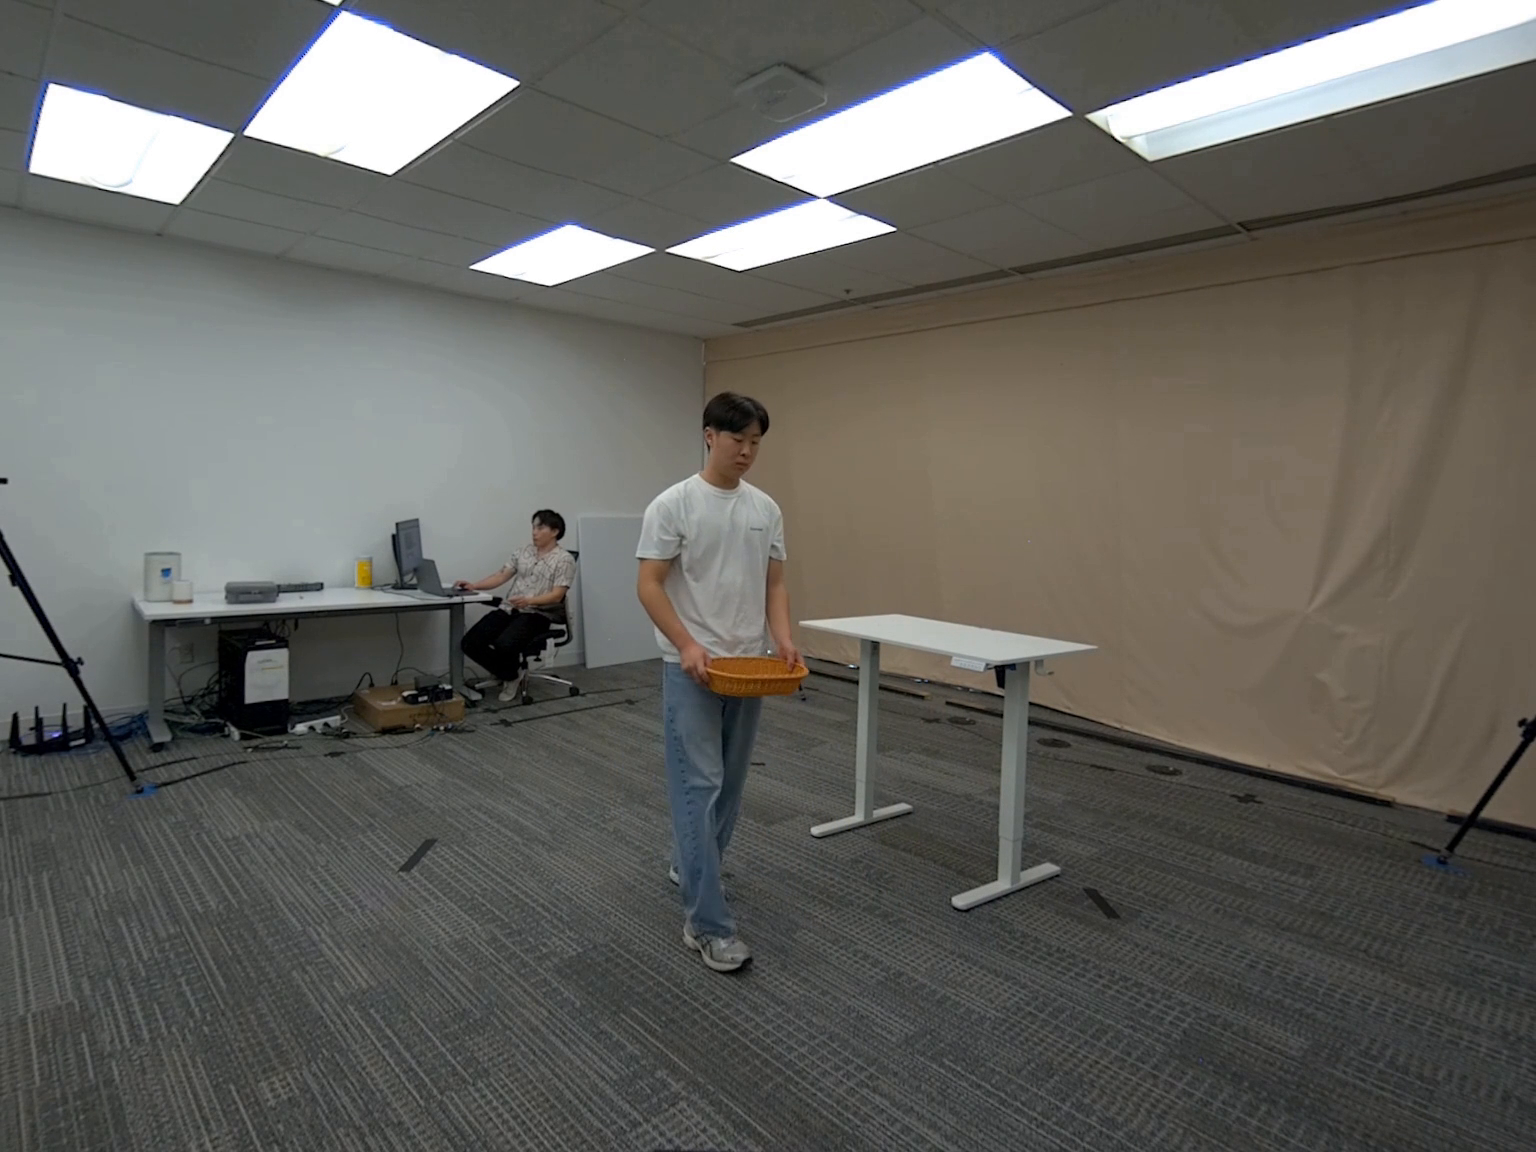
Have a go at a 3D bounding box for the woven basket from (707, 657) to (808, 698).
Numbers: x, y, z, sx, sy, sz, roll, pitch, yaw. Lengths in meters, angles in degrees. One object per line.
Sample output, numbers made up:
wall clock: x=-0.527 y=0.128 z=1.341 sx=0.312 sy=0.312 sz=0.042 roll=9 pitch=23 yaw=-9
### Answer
woven basket: x=-0.067 y=0.304 z=2.580 sx=0.343 sy=0.073 sz=0.258 roll=1 pitch=8 yaw=-28
